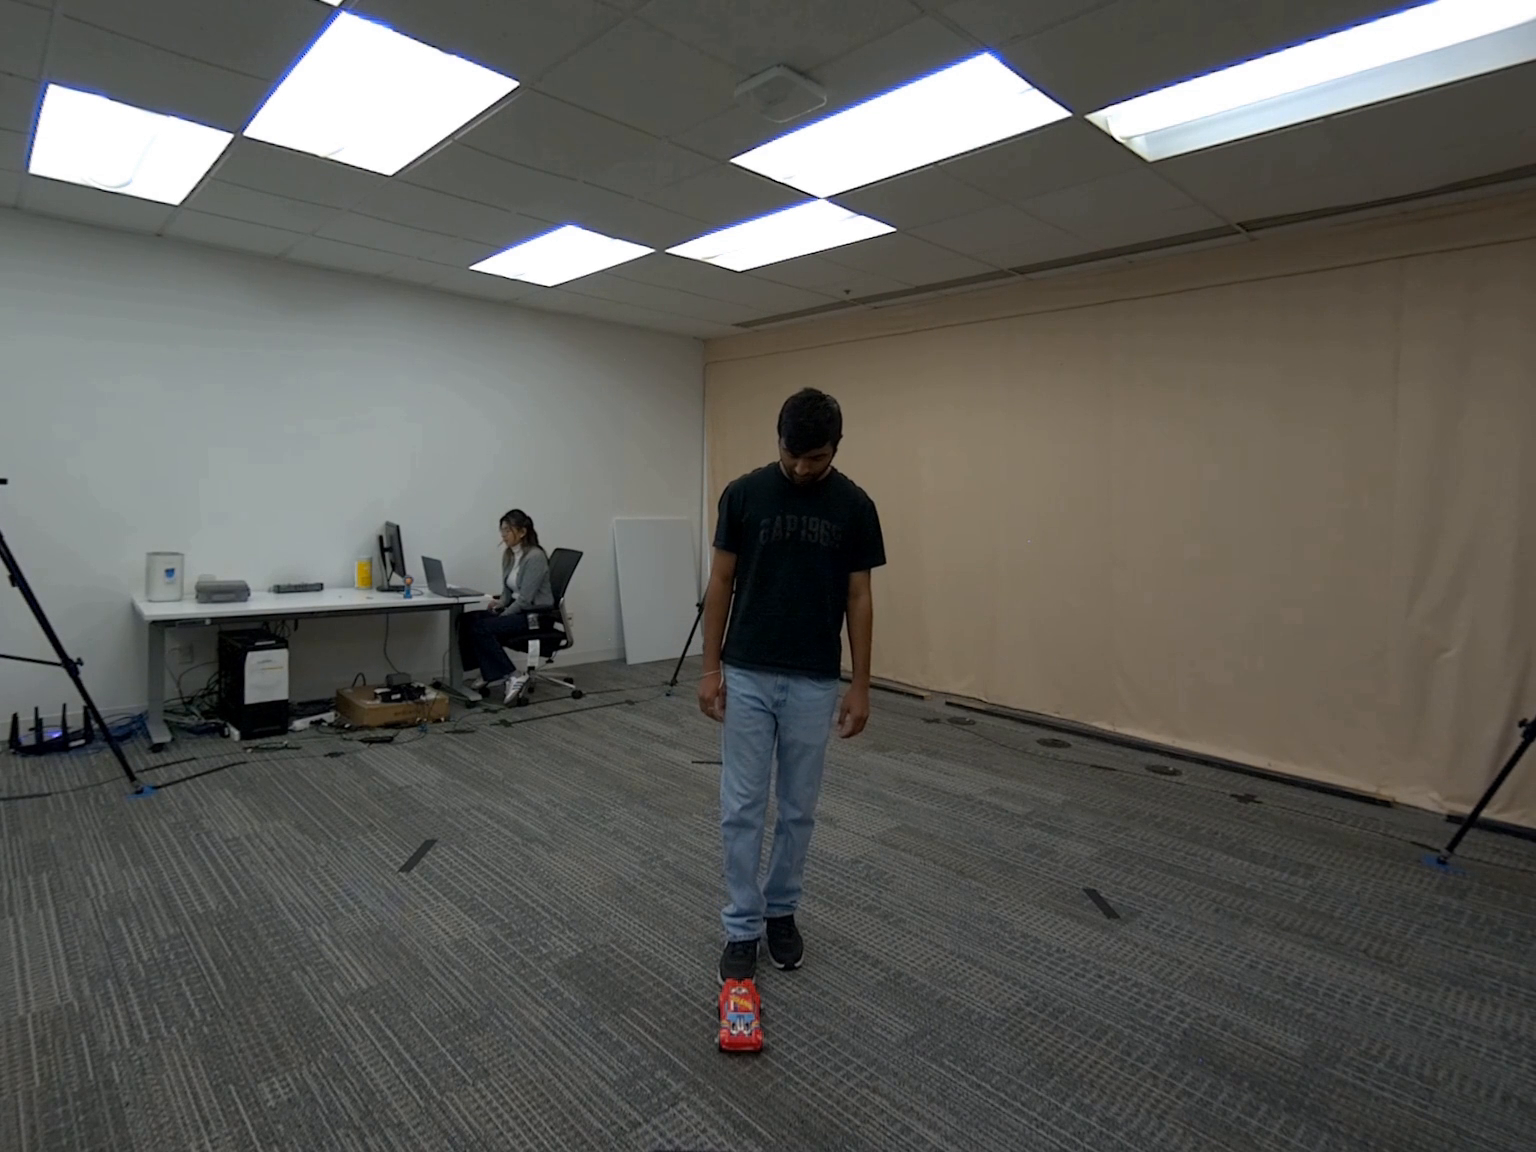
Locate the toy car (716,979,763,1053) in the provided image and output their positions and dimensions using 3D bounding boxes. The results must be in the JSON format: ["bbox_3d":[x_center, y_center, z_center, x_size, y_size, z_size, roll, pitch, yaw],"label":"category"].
[{"bbox_3d":[-0.089,1.160,2.214,0.130,0.082,0.257,1,17,-1],"label":"toy car"}]
